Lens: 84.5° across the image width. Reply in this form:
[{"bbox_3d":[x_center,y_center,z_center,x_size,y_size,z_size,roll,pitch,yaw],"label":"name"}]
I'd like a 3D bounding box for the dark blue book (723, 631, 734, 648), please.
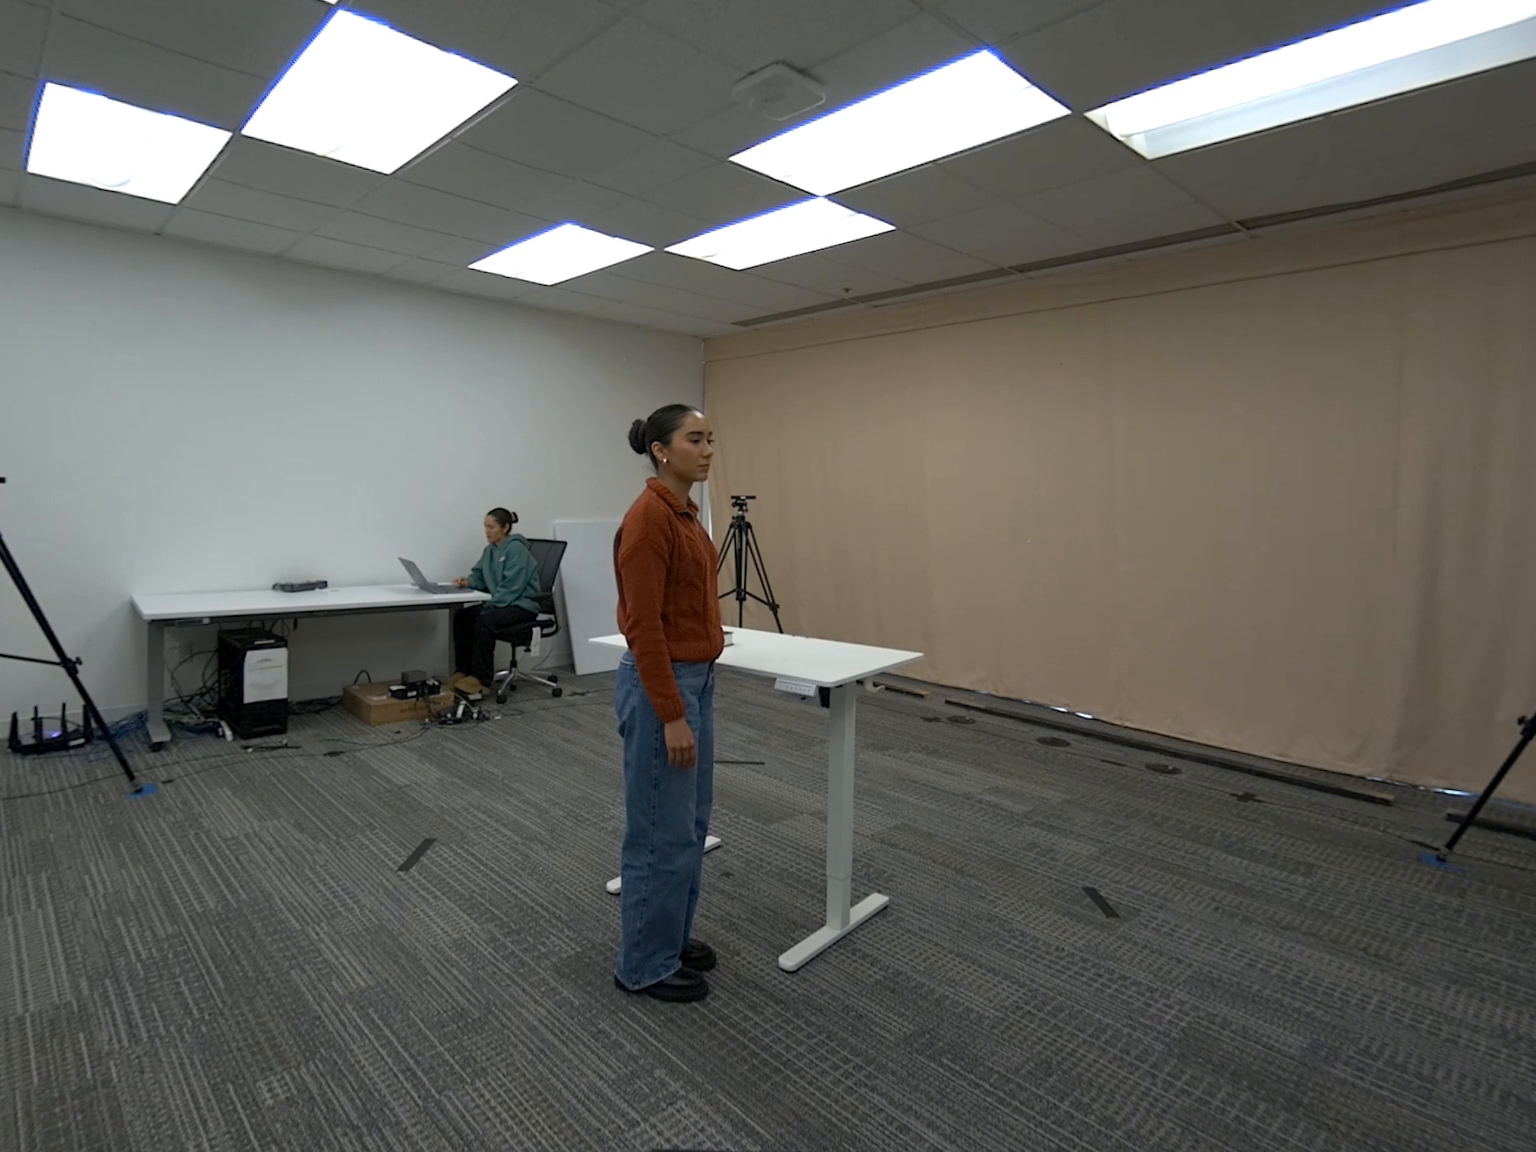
[{"bbox_3d":[-0.244,0.220,2.859,0.167,0.045,0.240,4,6,31],"label":"dark blue book"}]
